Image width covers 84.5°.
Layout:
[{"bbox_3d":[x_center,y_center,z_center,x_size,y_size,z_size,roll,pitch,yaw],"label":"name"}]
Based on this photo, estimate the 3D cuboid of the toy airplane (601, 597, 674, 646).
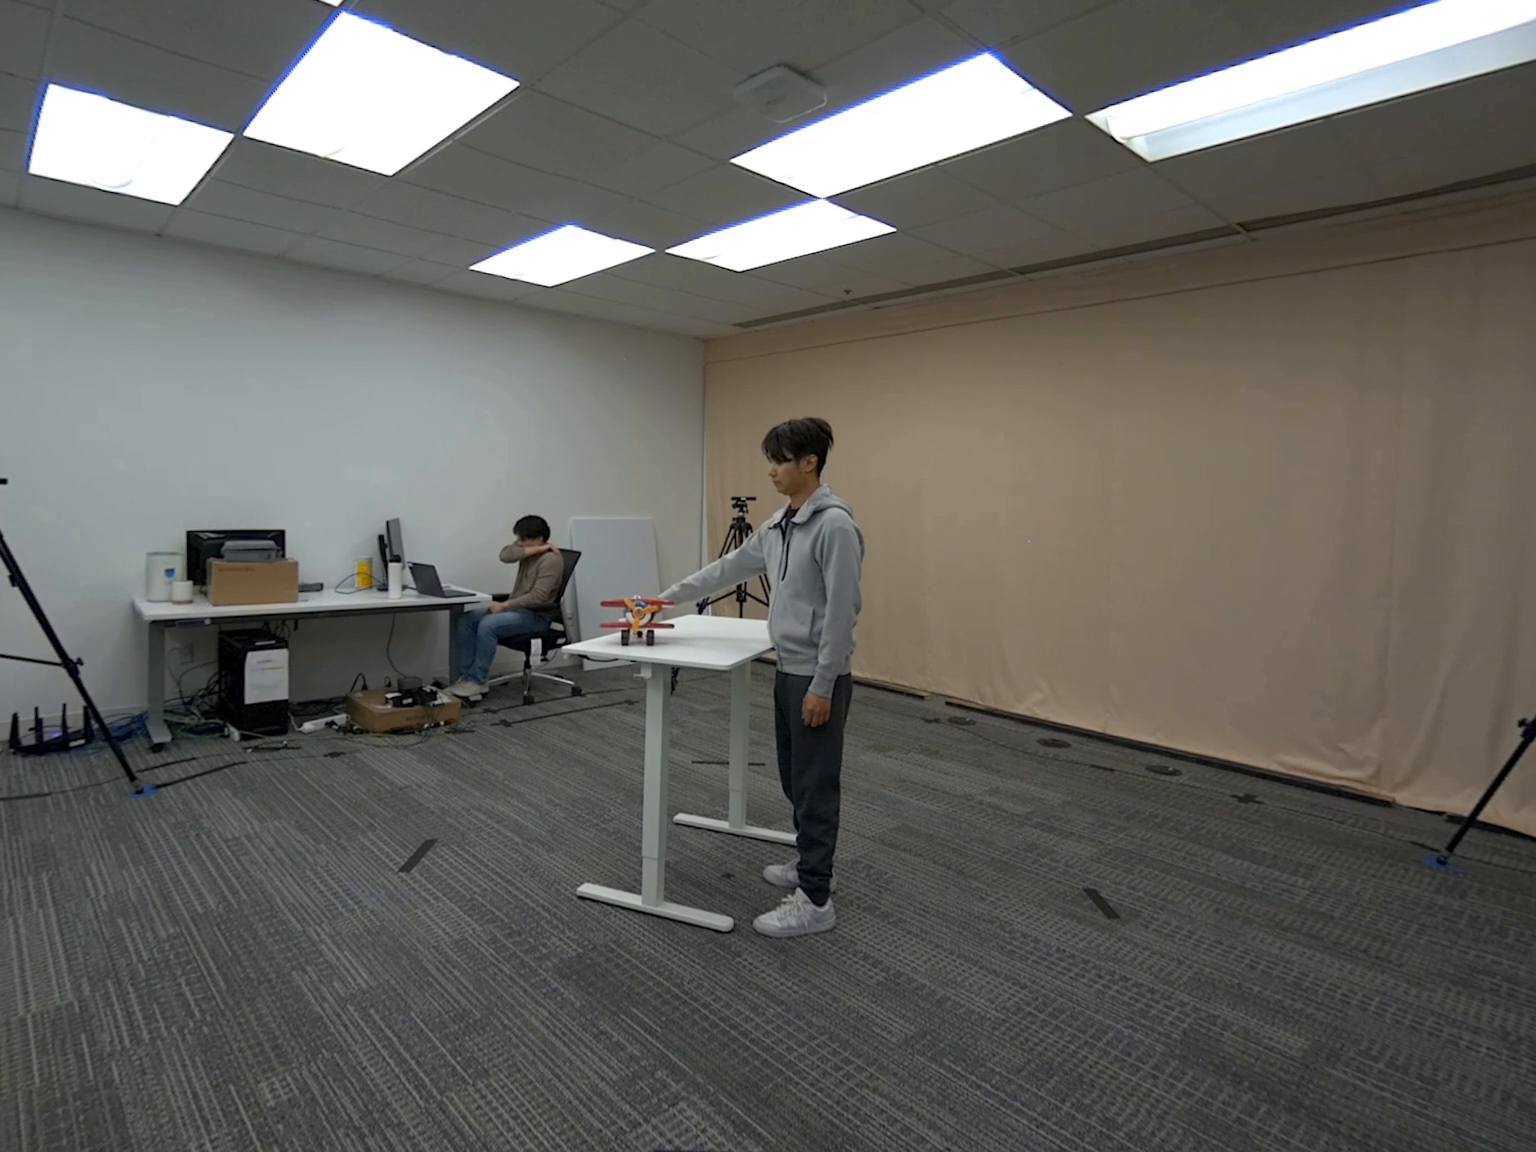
[{"bbox_3d":[-0.480,0.154,2.939,0.245,0.156,0.266,-2,5,-37],"label":"toy airplane"}]
